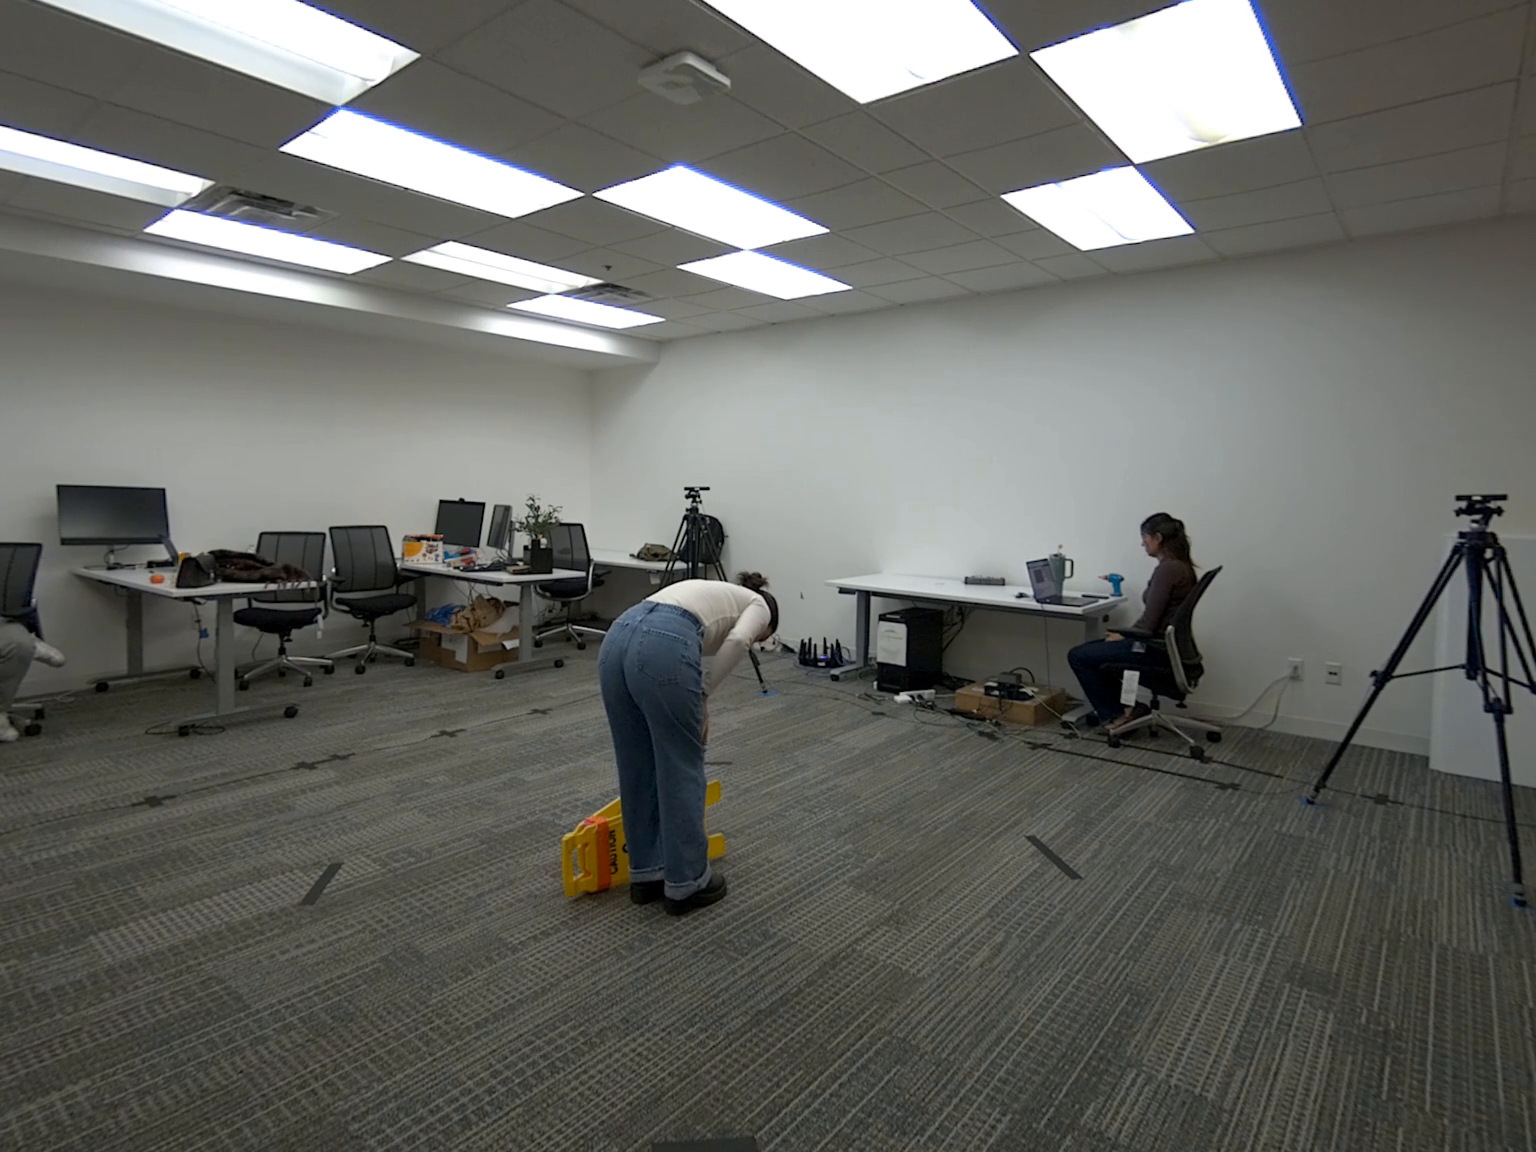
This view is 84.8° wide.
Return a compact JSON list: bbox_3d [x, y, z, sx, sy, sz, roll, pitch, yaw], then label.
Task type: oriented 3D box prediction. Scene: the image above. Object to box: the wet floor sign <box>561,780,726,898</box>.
[{"bbox_3d":[-0.485,0.933,3.062,0.298,0.282,0.628,-3,3,40],"label":"wet floor sign"}]
